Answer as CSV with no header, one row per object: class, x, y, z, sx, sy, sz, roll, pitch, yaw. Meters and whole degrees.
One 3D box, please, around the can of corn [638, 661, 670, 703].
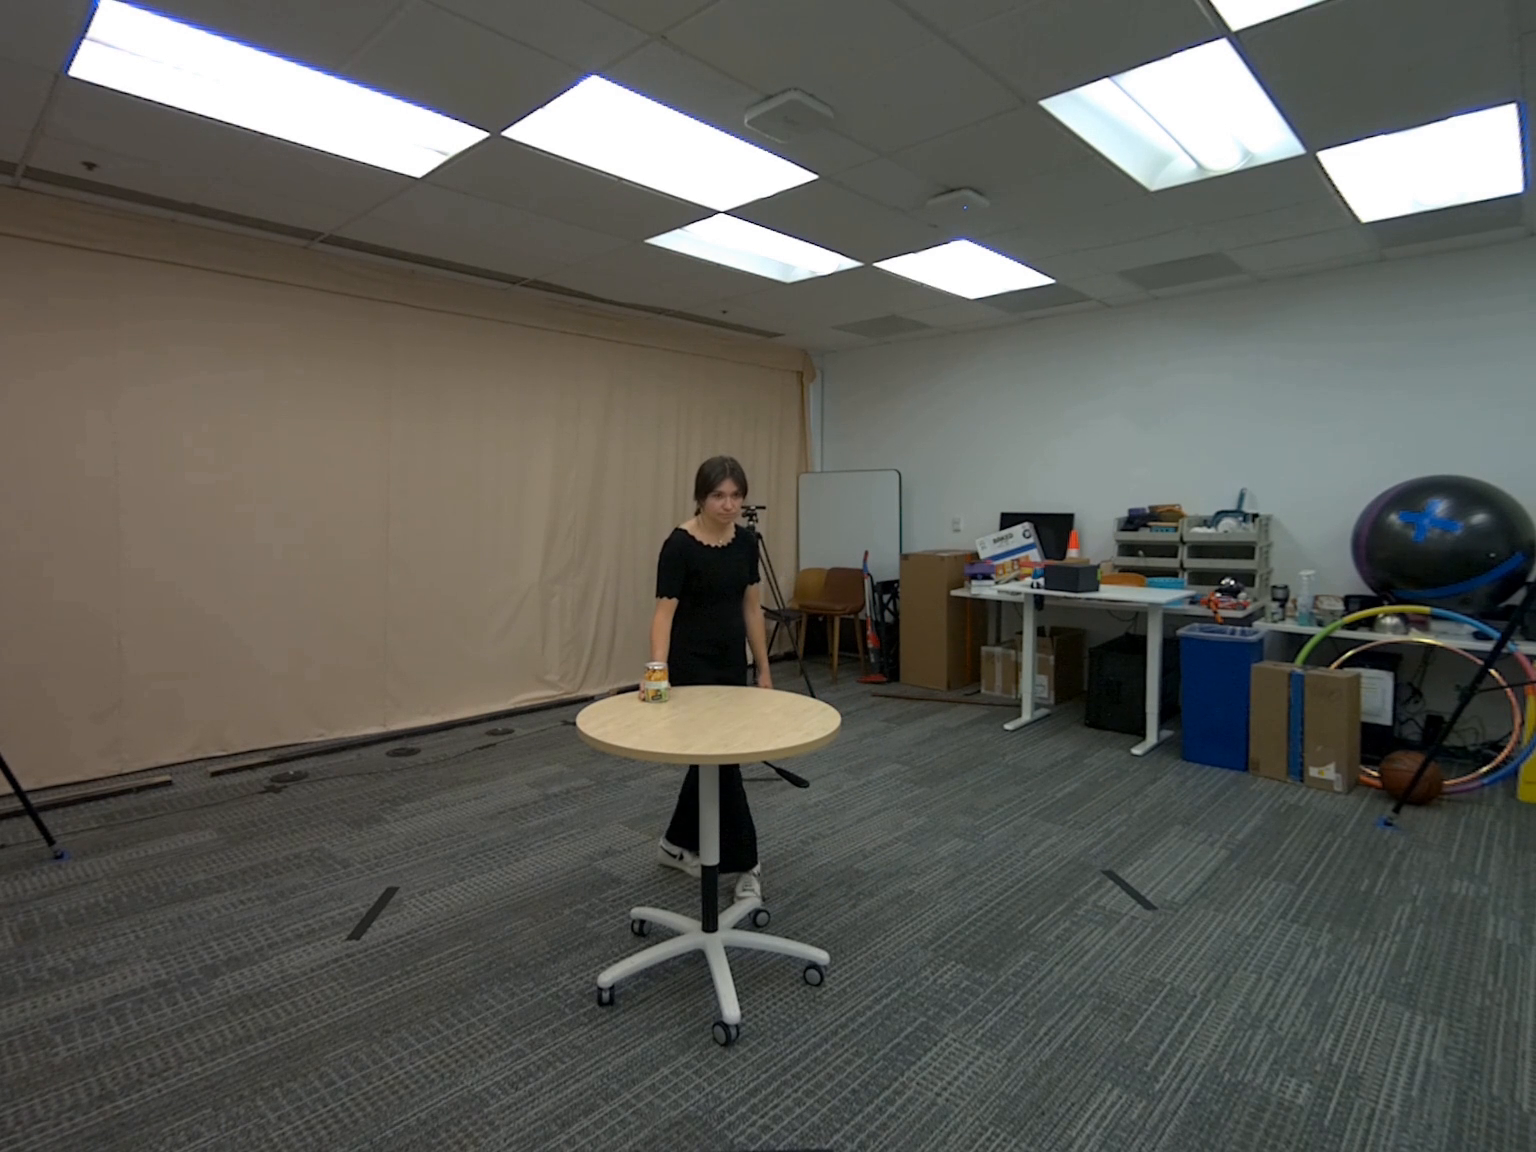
can of corn,-0.357,0.334,2.634,0.074,0.111,0.074,-3,3,-2
